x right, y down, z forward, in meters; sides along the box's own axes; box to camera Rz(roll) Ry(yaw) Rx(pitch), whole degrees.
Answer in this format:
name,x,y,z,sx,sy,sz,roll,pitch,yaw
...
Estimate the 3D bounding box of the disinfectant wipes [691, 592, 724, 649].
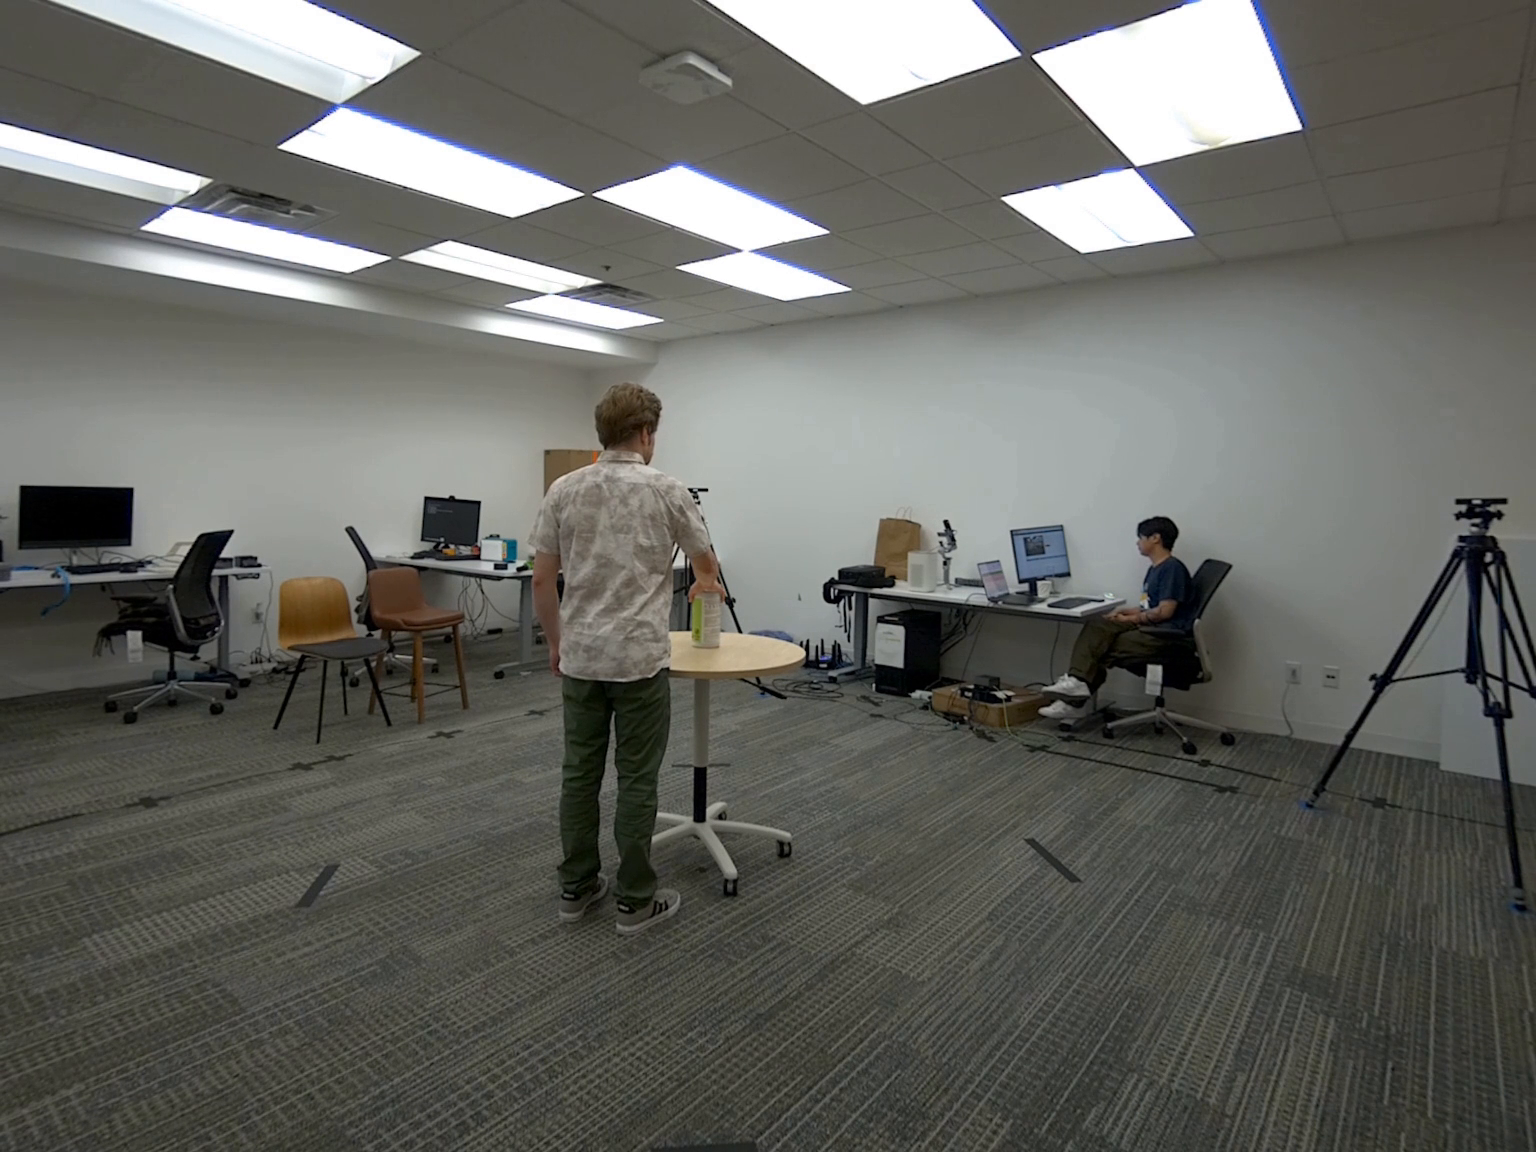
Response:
name,x,y,z,sx,sy,sz,roll,pitch,yaw
disinfectant wipes,-0.240,0.158,3.233,0.117,0.217,0.118,1,3,-2
